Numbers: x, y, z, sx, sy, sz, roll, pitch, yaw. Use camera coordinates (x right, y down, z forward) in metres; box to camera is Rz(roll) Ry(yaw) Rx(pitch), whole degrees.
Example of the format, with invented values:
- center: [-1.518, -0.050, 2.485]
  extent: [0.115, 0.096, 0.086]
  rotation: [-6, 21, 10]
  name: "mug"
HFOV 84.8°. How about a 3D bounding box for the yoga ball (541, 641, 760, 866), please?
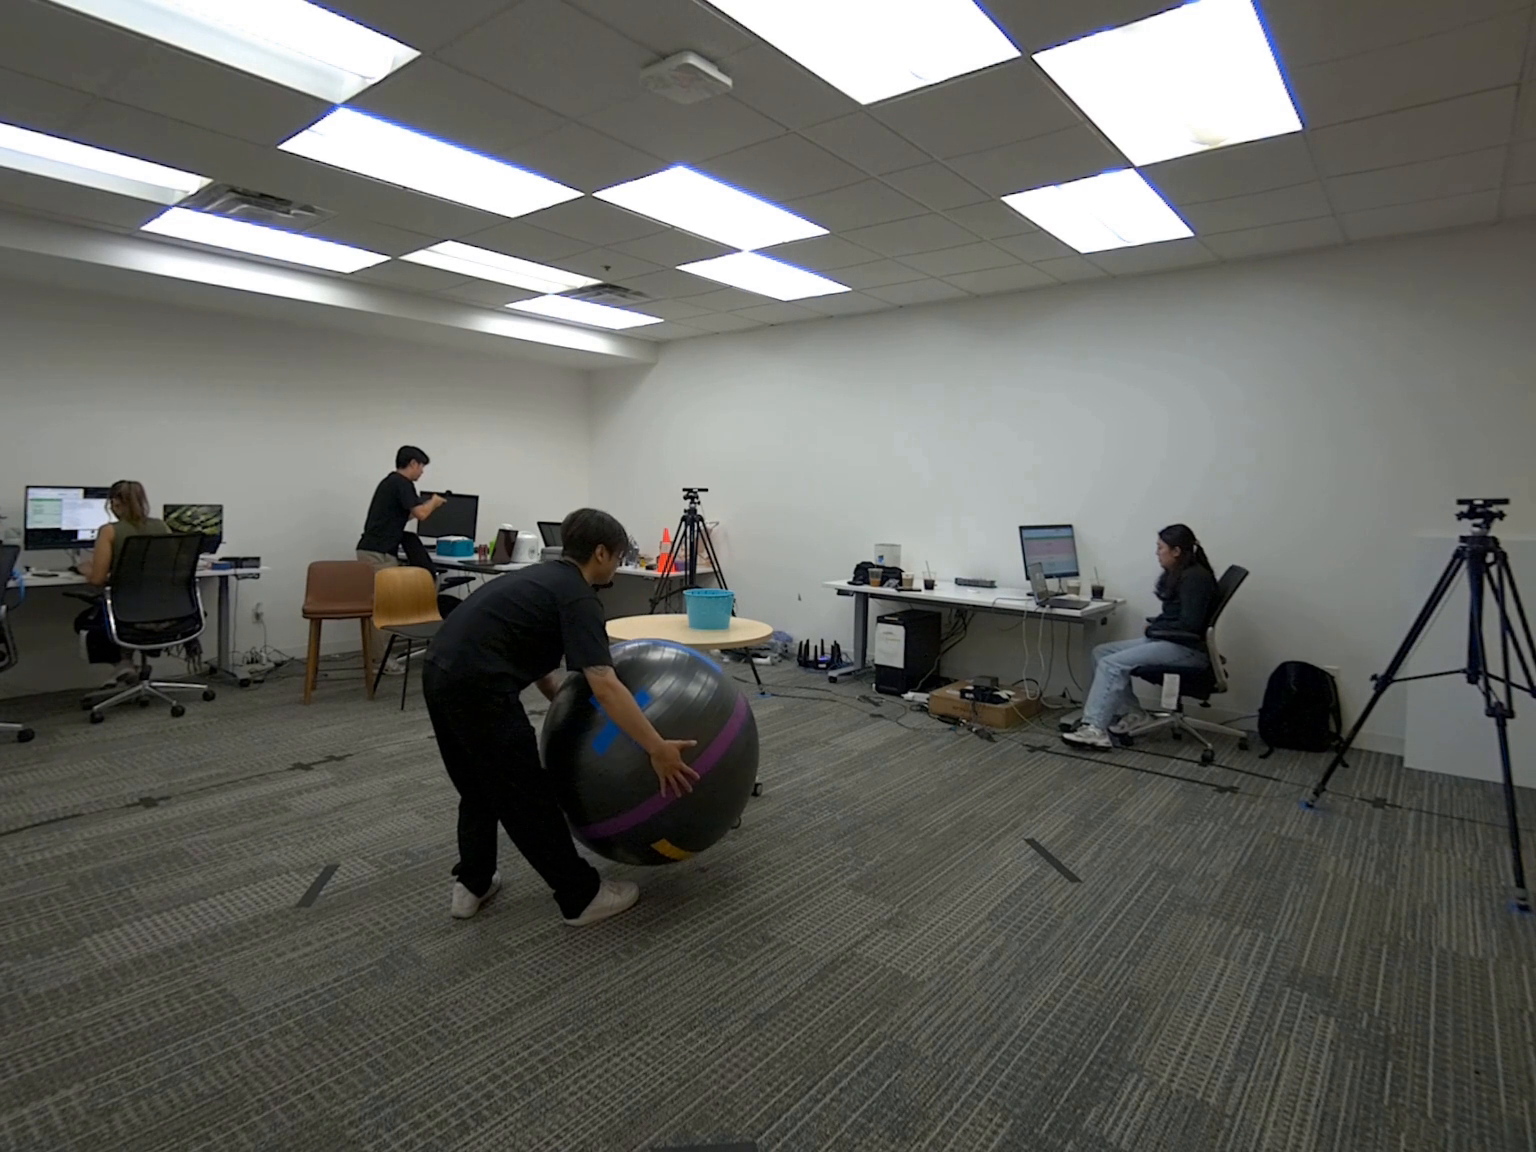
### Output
- center: [-0.416, 0.610, 2.943]
  extent: [0.757, 0.755, 0.762]
  rotation: [1, 4, -2]
  name: "yoga ball"
